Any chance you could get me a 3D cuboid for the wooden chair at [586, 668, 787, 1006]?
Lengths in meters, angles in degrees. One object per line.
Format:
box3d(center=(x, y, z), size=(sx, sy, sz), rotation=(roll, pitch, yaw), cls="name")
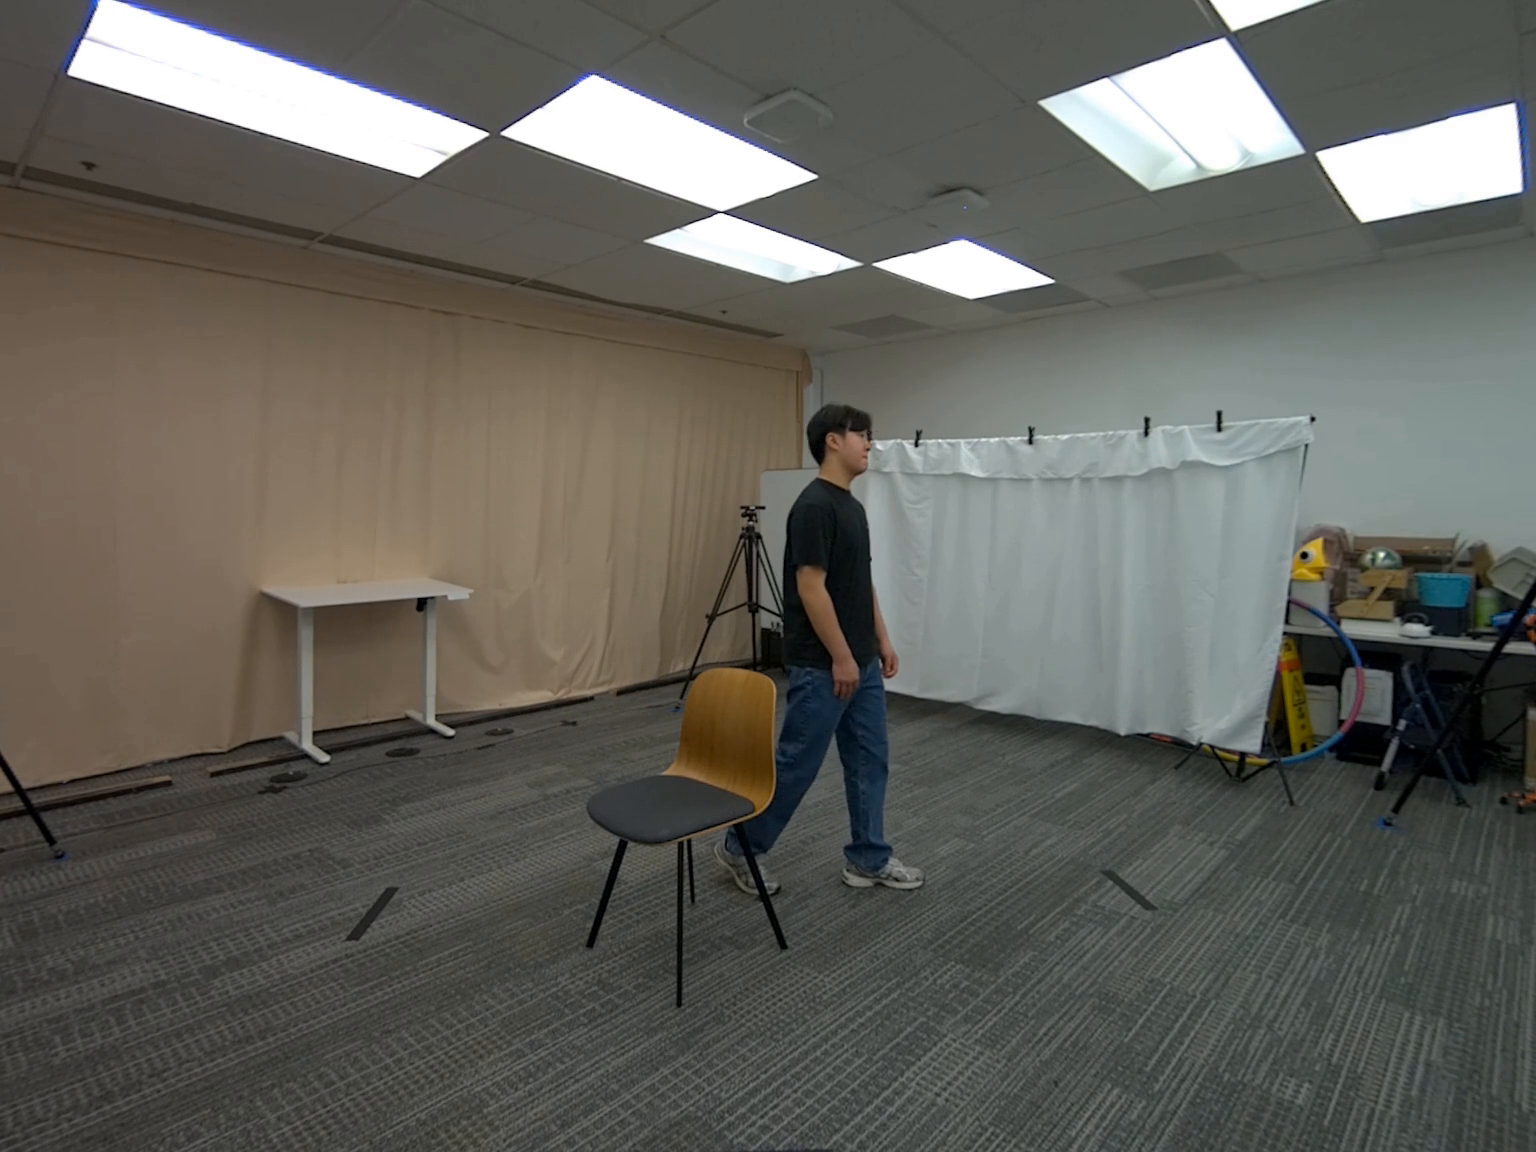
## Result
box3d(center=(-0.260, 0.747, 2.618), size=(0.506, 0.877, 0.494), rotation=(3, 0, -45), cls="wooden chair")
